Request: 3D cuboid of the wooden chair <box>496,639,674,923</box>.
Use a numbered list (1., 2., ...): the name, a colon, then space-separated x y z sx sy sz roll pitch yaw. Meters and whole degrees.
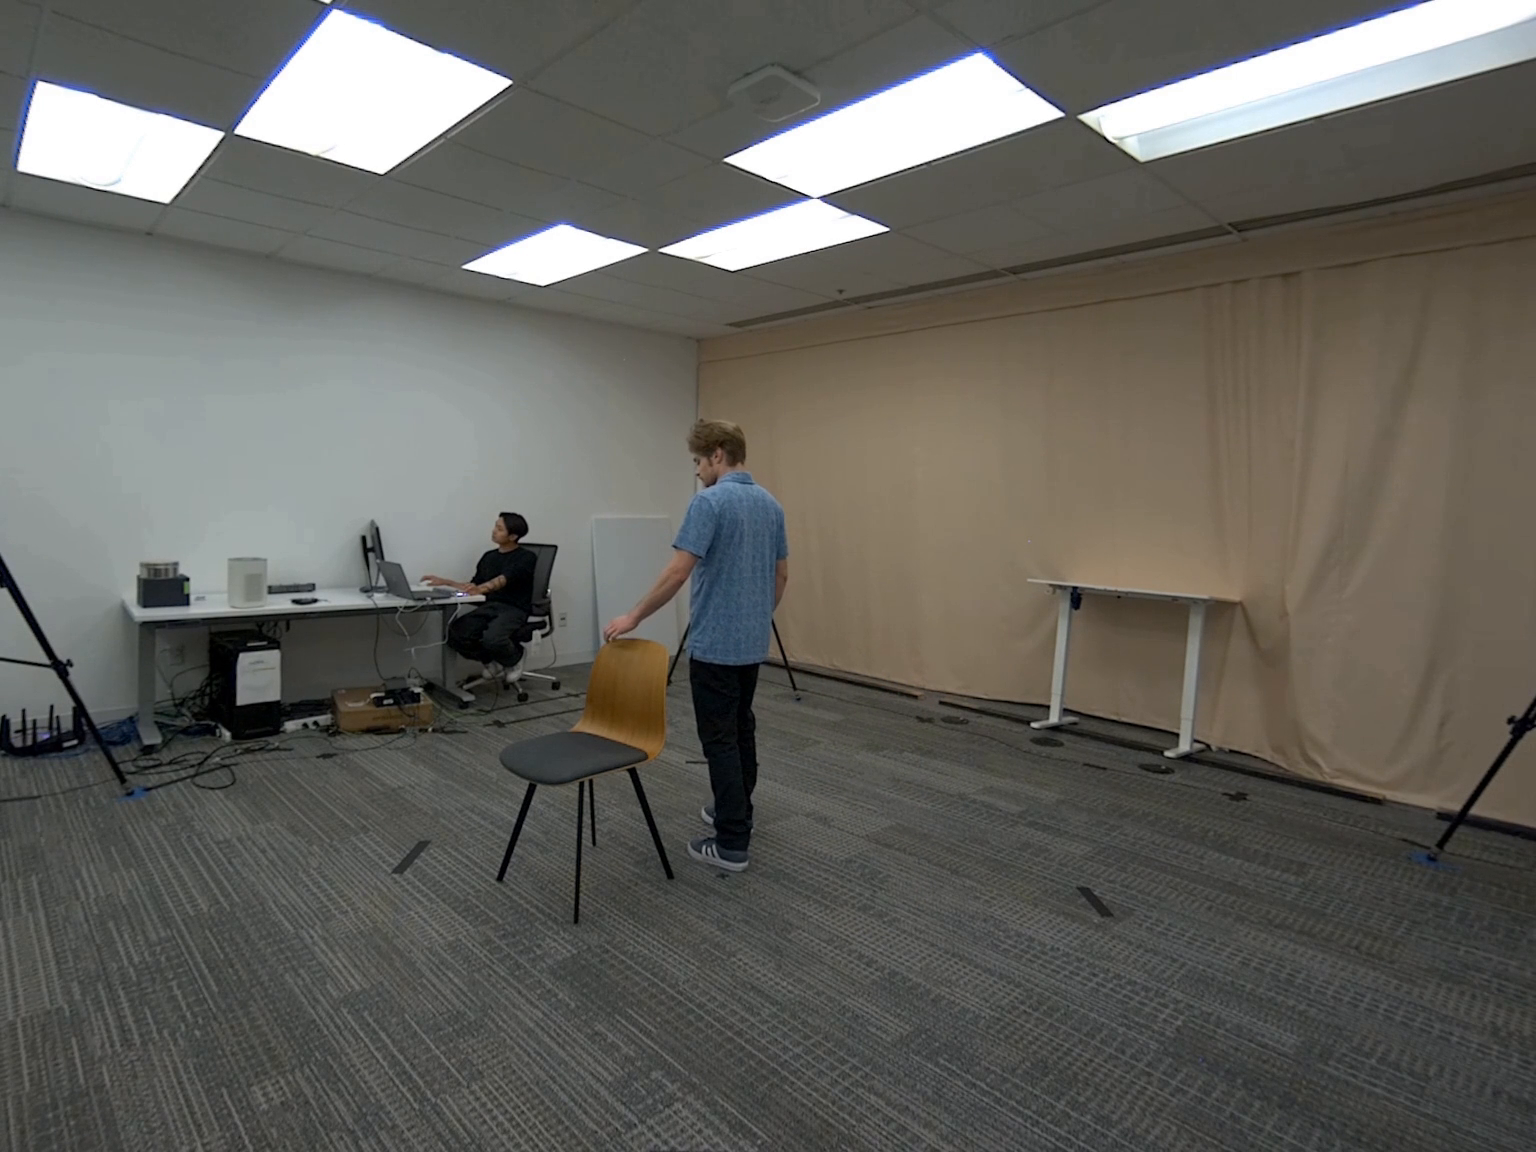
1. wooden chair: -0.653 0.678 3.000 0.490 0.877 0.510 4 0 40
